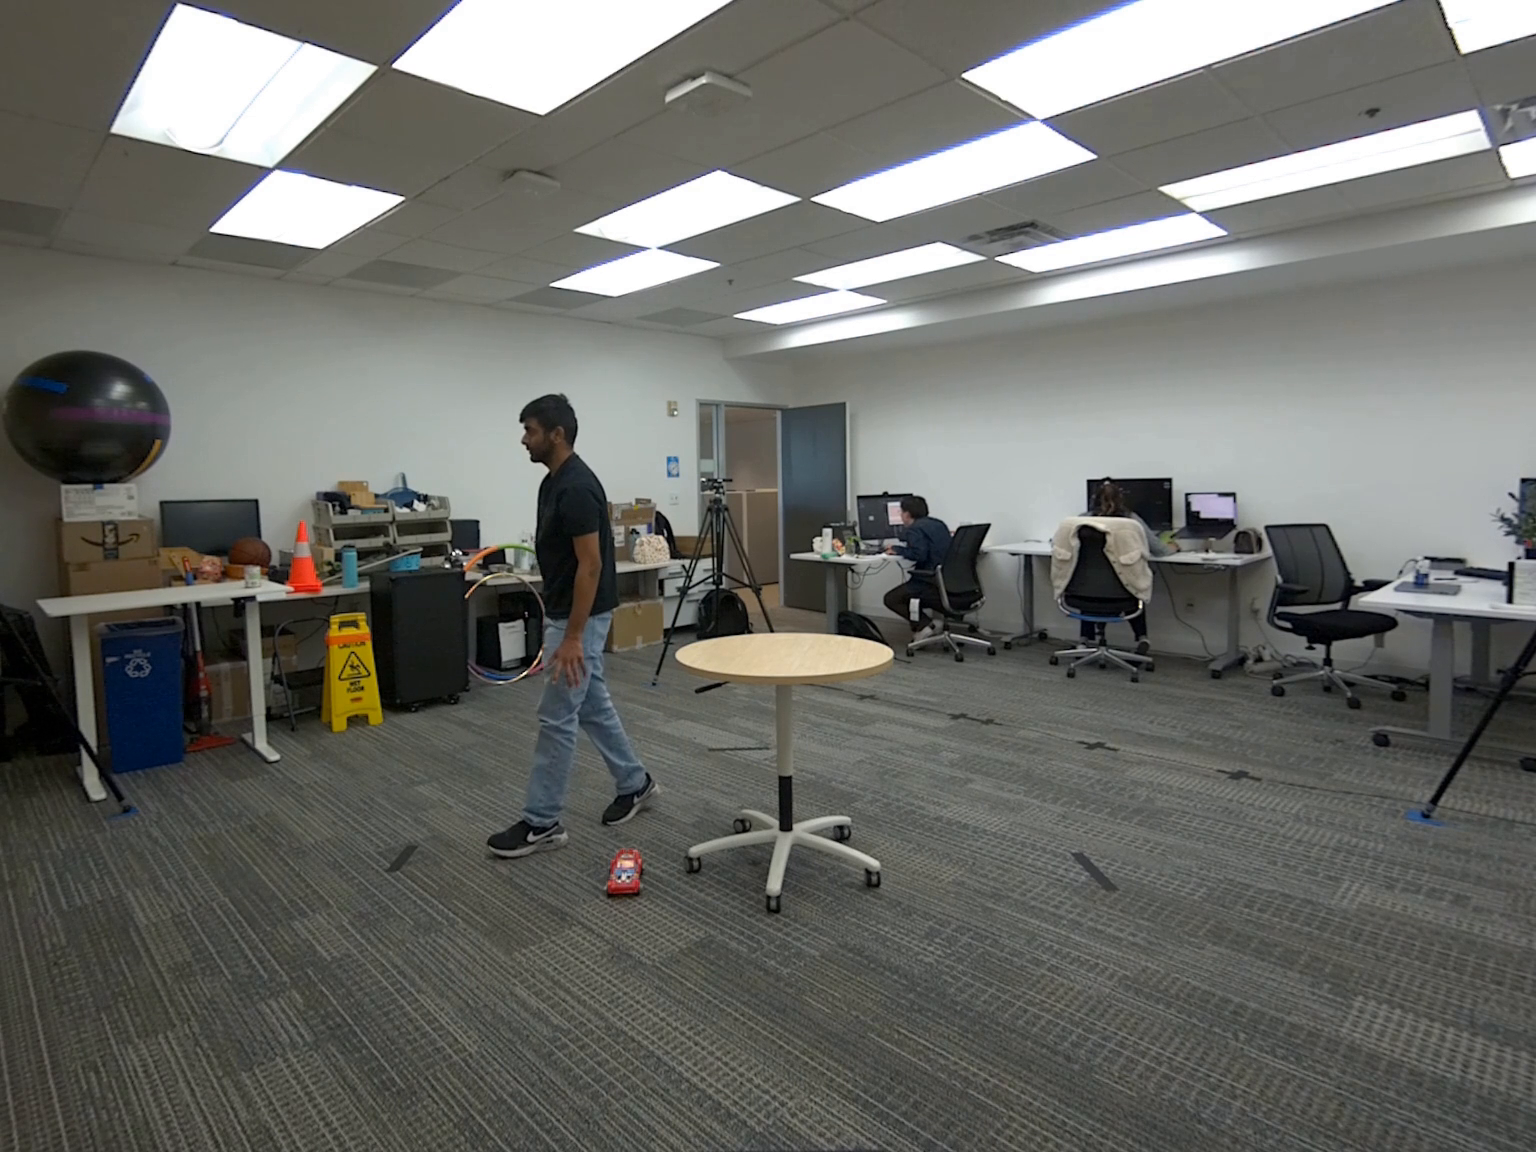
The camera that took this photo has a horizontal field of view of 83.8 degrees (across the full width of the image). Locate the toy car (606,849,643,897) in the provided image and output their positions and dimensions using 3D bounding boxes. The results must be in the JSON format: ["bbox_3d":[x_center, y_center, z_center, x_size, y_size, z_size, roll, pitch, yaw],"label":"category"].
[{"bbox_3d":[-0.497,1.031,2.973,0.130,0.082,0.259,-1,16,-4],"label":"toy car"}]
